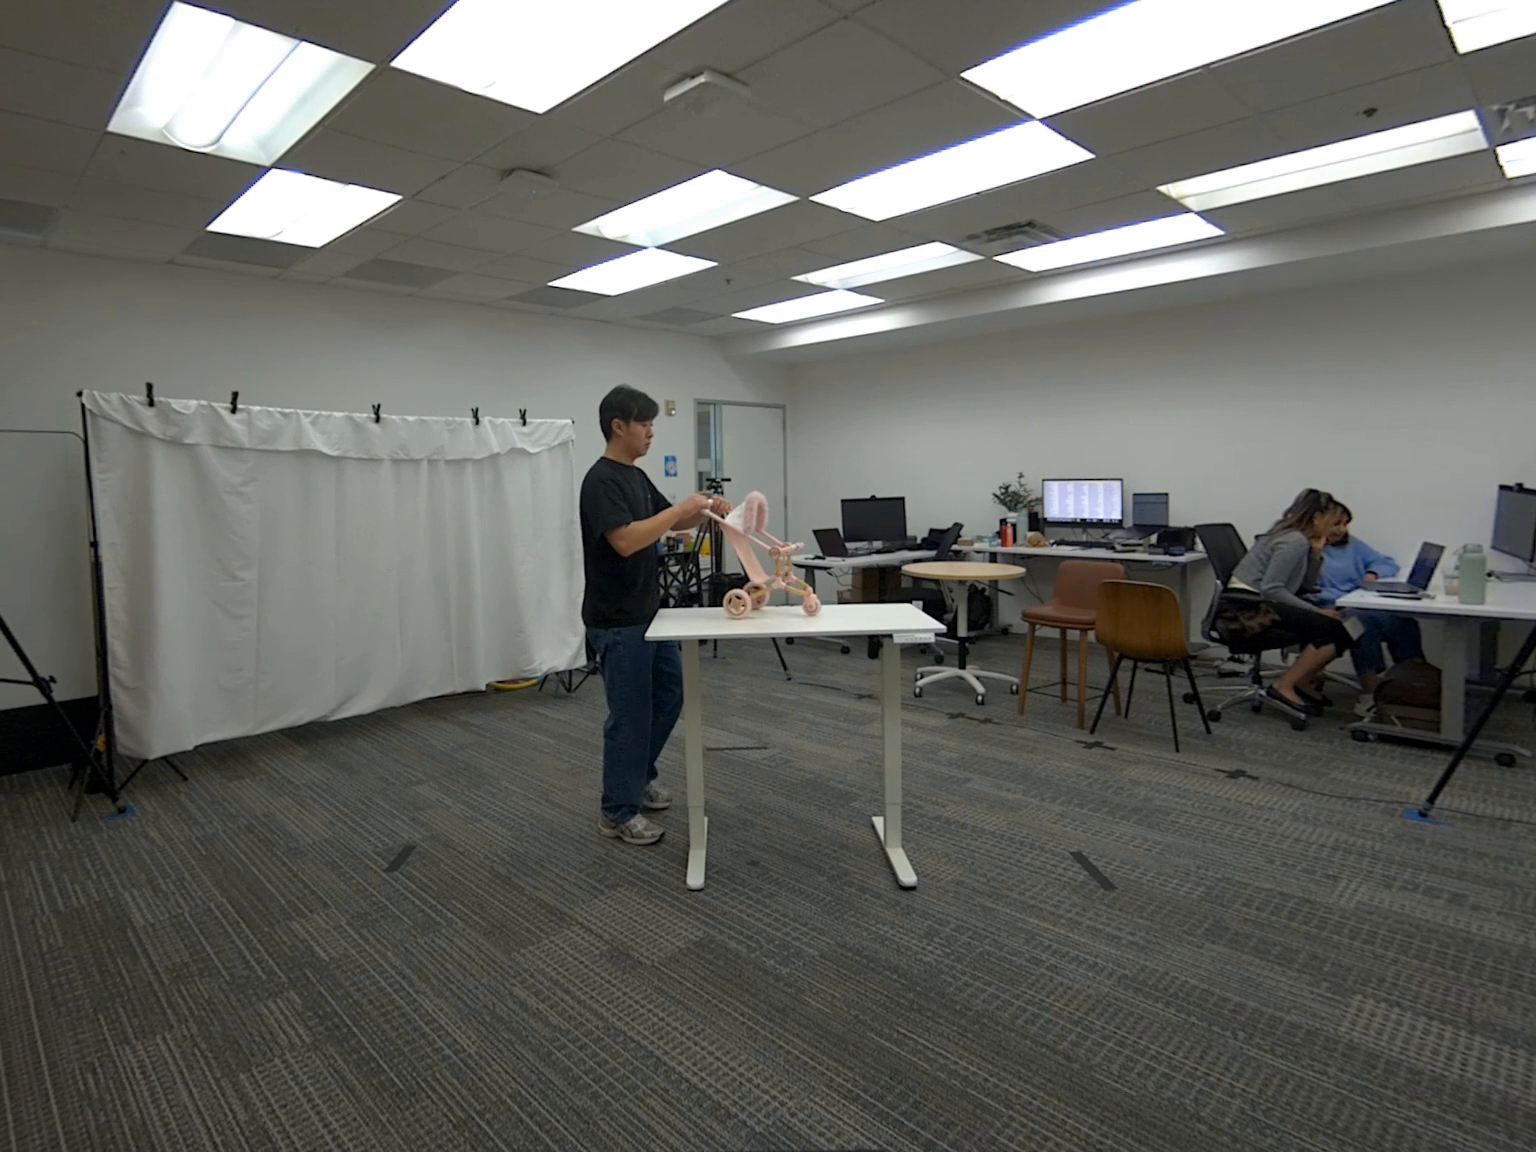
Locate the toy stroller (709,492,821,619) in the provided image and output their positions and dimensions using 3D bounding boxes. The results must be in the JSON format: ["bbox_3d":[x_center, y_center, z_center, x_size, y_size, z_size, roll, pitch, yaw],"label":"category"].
[{"bbox_3d":[-0.021,-0.076,3.207,0.346,0.536,0.277,-16,-1,23],"label":"toy stroller"}]
